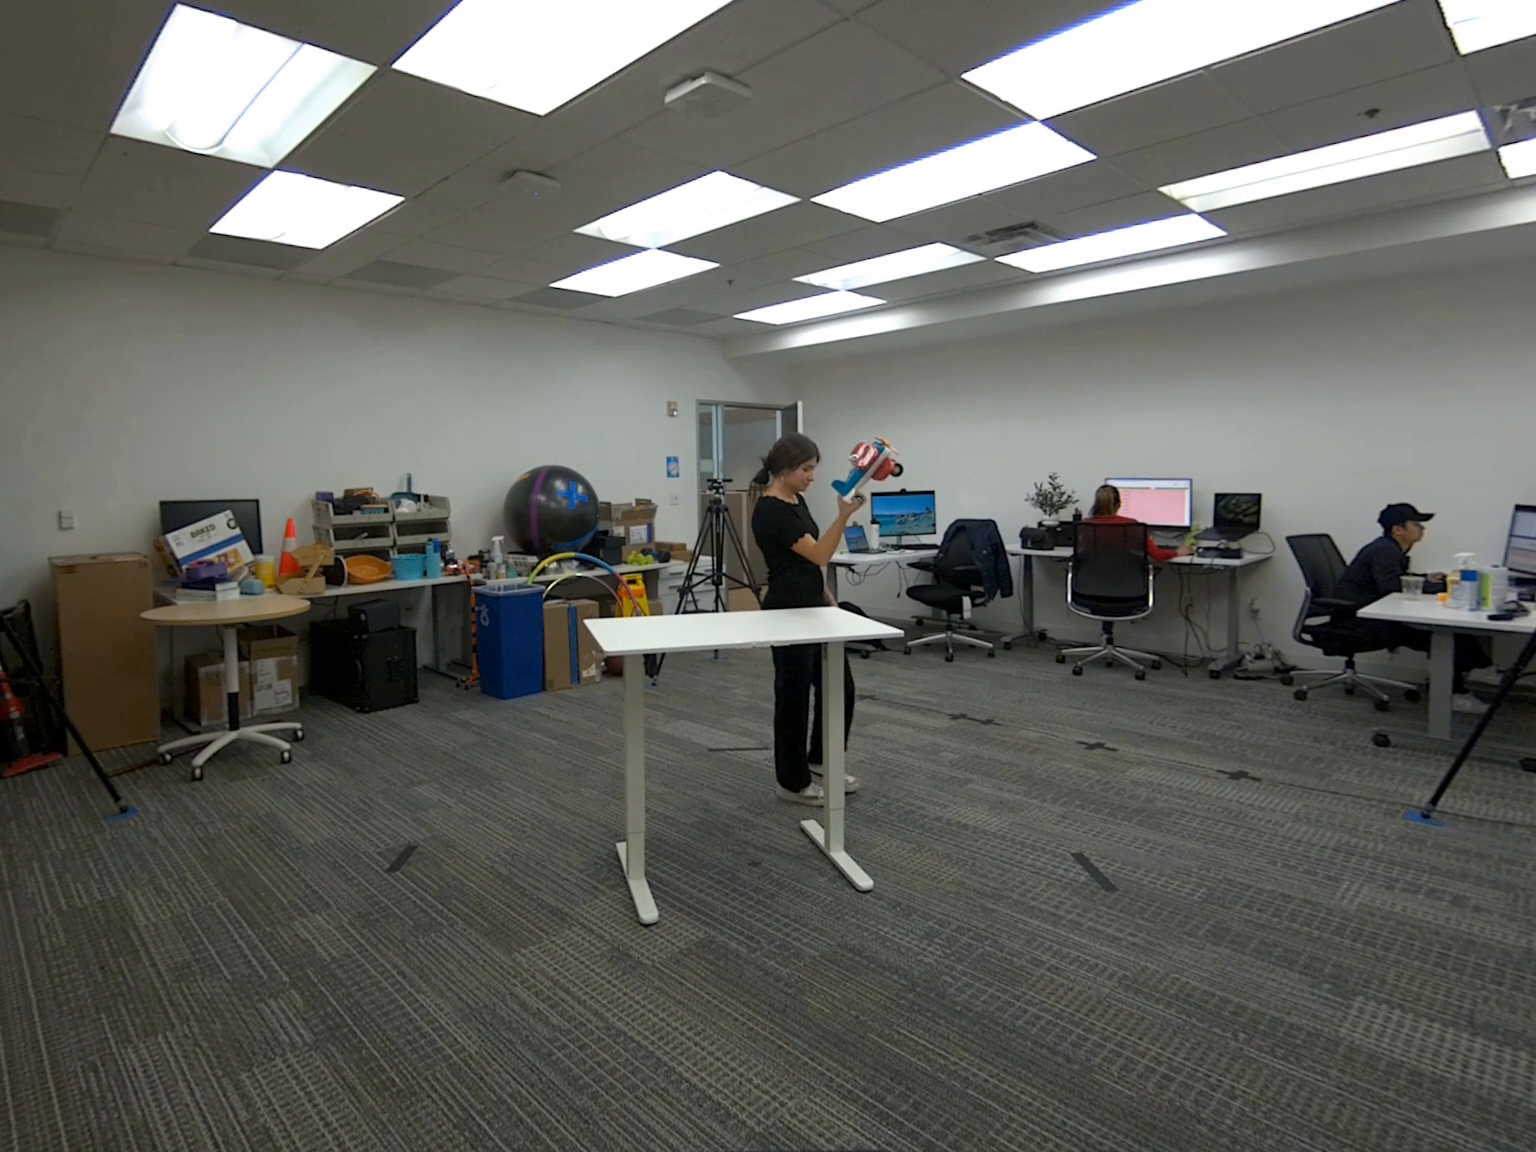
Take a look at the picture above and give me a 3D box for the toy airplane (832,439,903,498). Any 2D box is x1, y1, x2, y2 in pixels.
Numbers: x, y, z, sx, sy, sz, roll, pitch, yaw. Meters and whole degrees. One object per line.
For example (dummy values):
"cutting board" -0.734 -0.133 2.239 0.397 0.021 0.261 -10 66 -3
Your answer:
"toy airplane" 0.373 -0.386 3.162 0.259 0.153 0.256 -46 17 -21
